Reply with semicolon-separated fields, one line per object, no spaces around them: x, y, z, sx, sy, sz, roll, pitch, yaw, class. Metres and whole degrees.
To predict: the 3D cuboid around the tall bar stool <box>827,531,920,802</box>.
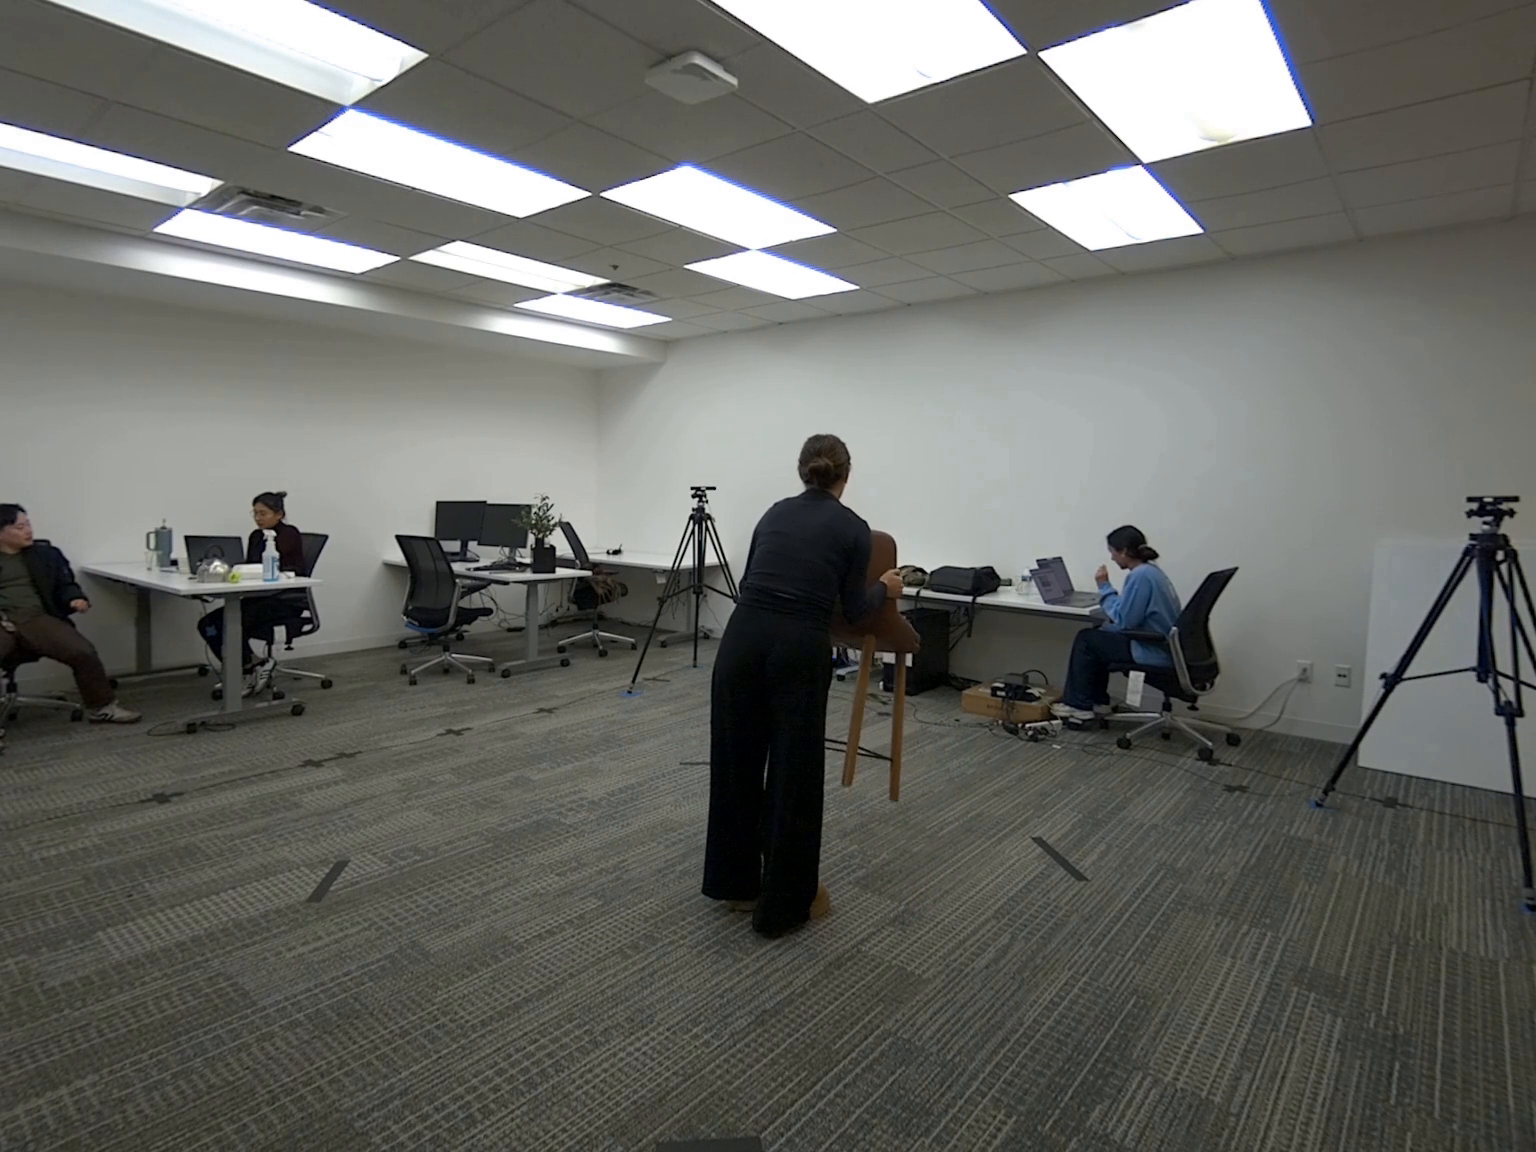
0.266;0.321;3.115;0.470;0.899;0.449;2;-17;31;tall bar stool
